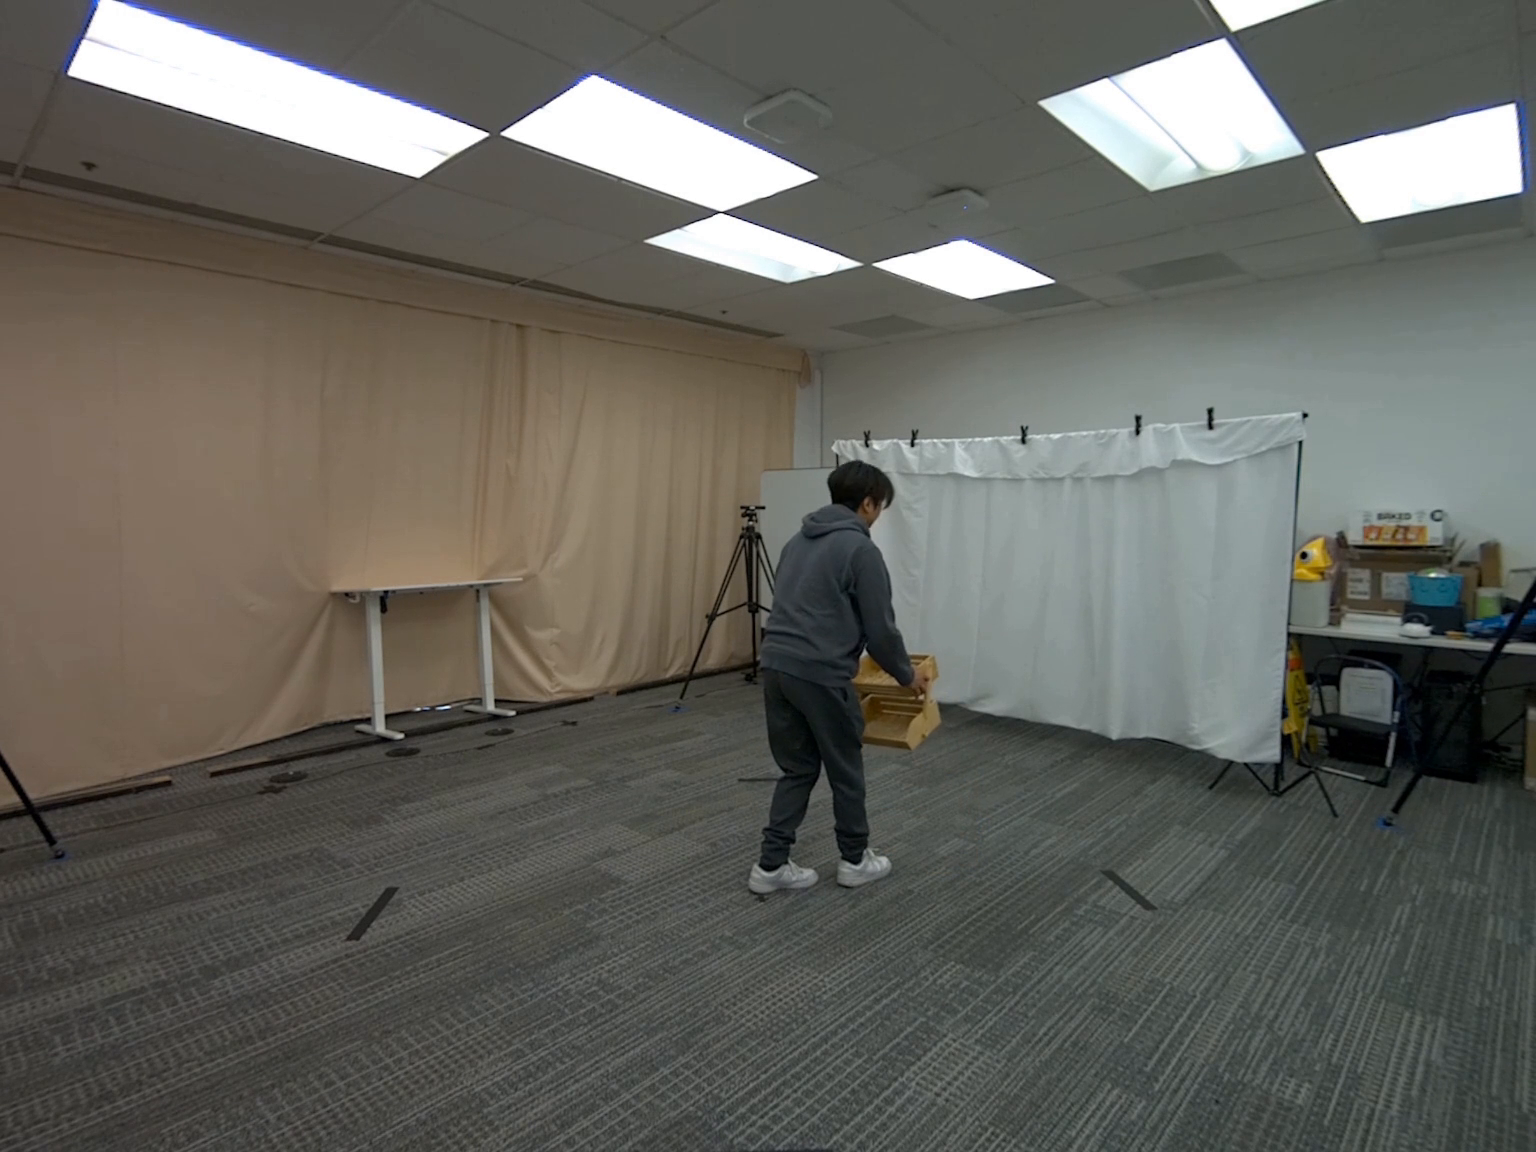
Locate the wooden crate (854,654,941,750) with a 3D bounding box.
[{"bbox_3d":[0.471,0.474,3.261,0.335,0.270,0.296,-2,17,43],"label":"wooden crate"}]
